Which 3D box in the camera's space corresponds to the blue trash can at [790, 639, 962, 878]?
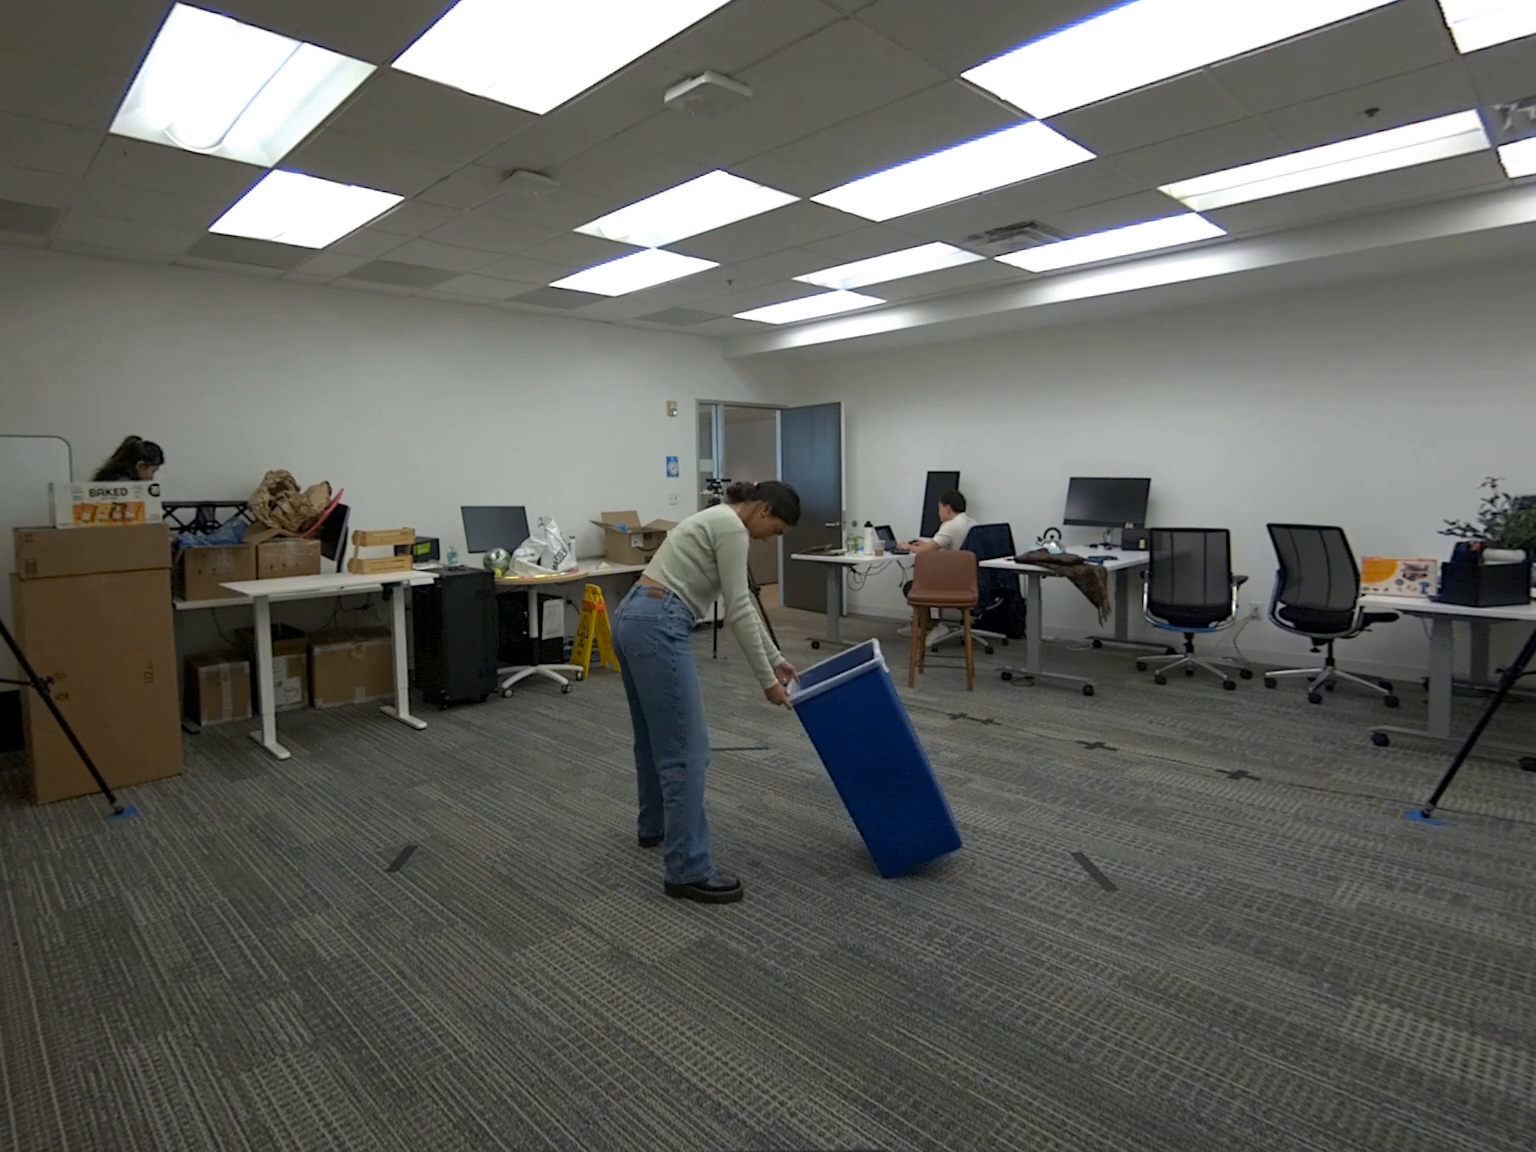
[{"bbox_3d":[0.364,0.652,3.087,0.375,0.713,0.377,-25,1,6],"label":"blue trash can"}]
